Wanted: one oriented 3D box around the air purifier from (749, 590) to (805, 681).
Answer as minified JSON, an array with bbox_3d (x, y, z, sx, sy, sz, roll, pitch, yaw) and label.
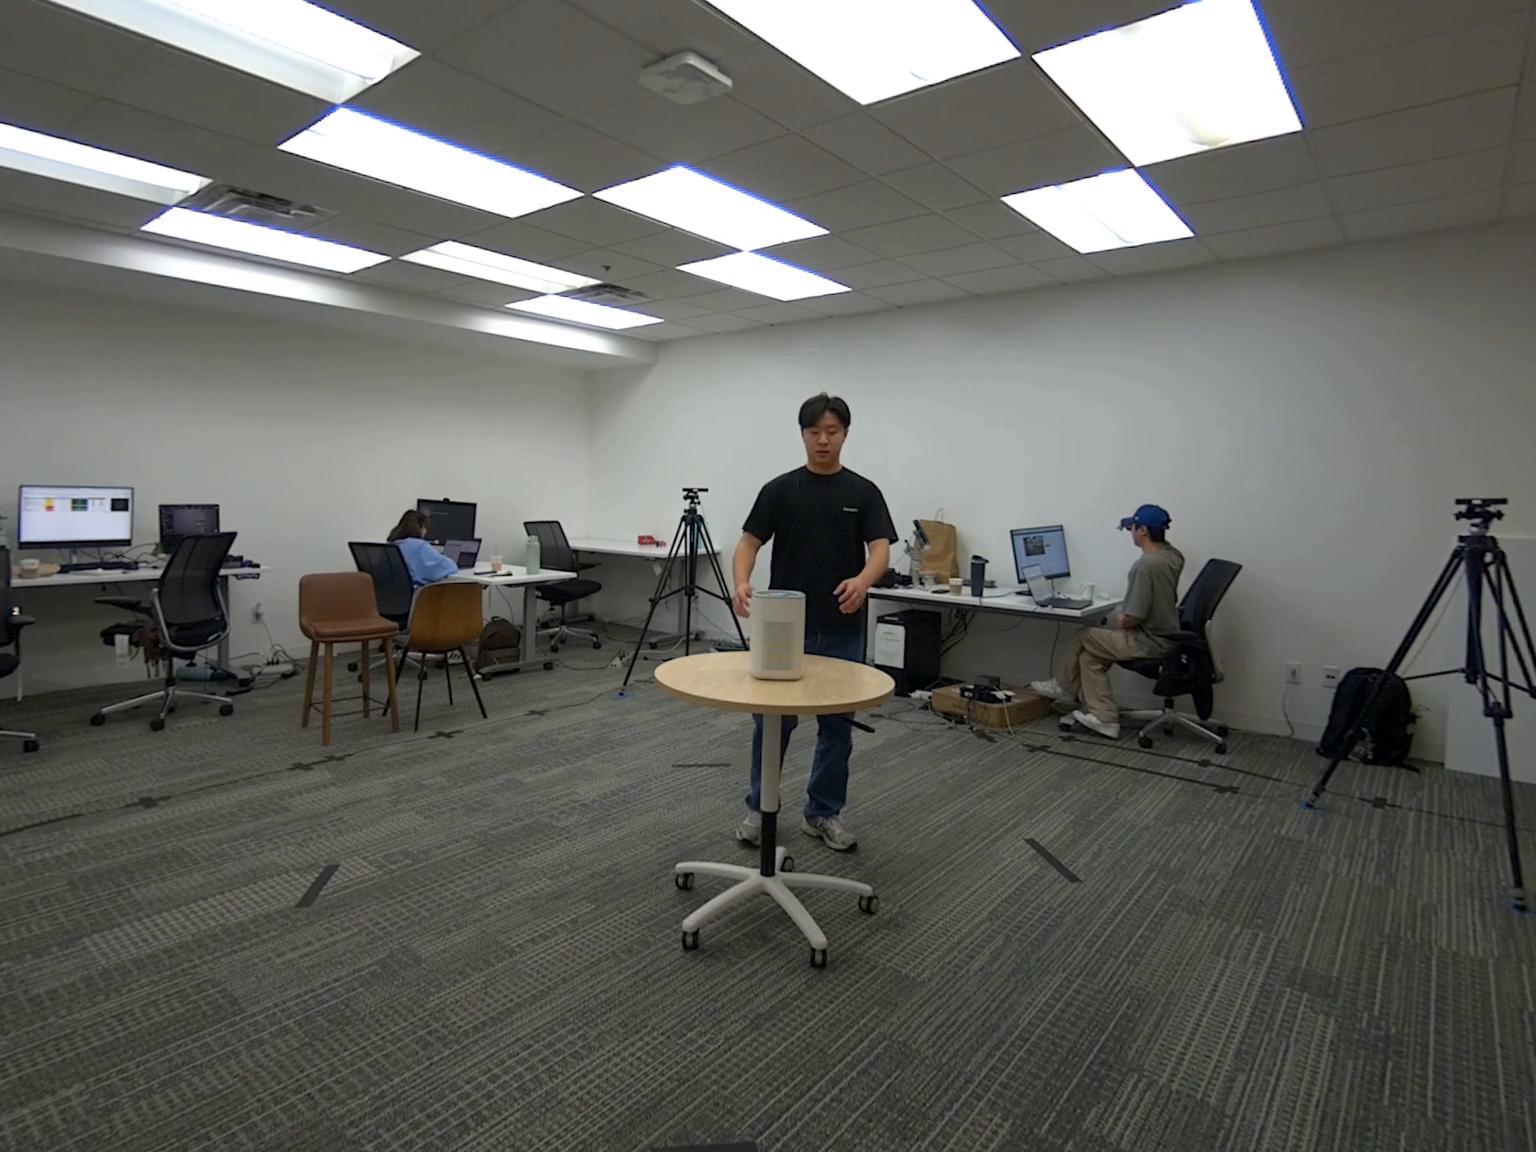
[{"bbox_3d":[0.024,0.186,2.716,0.172,0.264,0.171,2,4,0],"label":"air purifier"}]
